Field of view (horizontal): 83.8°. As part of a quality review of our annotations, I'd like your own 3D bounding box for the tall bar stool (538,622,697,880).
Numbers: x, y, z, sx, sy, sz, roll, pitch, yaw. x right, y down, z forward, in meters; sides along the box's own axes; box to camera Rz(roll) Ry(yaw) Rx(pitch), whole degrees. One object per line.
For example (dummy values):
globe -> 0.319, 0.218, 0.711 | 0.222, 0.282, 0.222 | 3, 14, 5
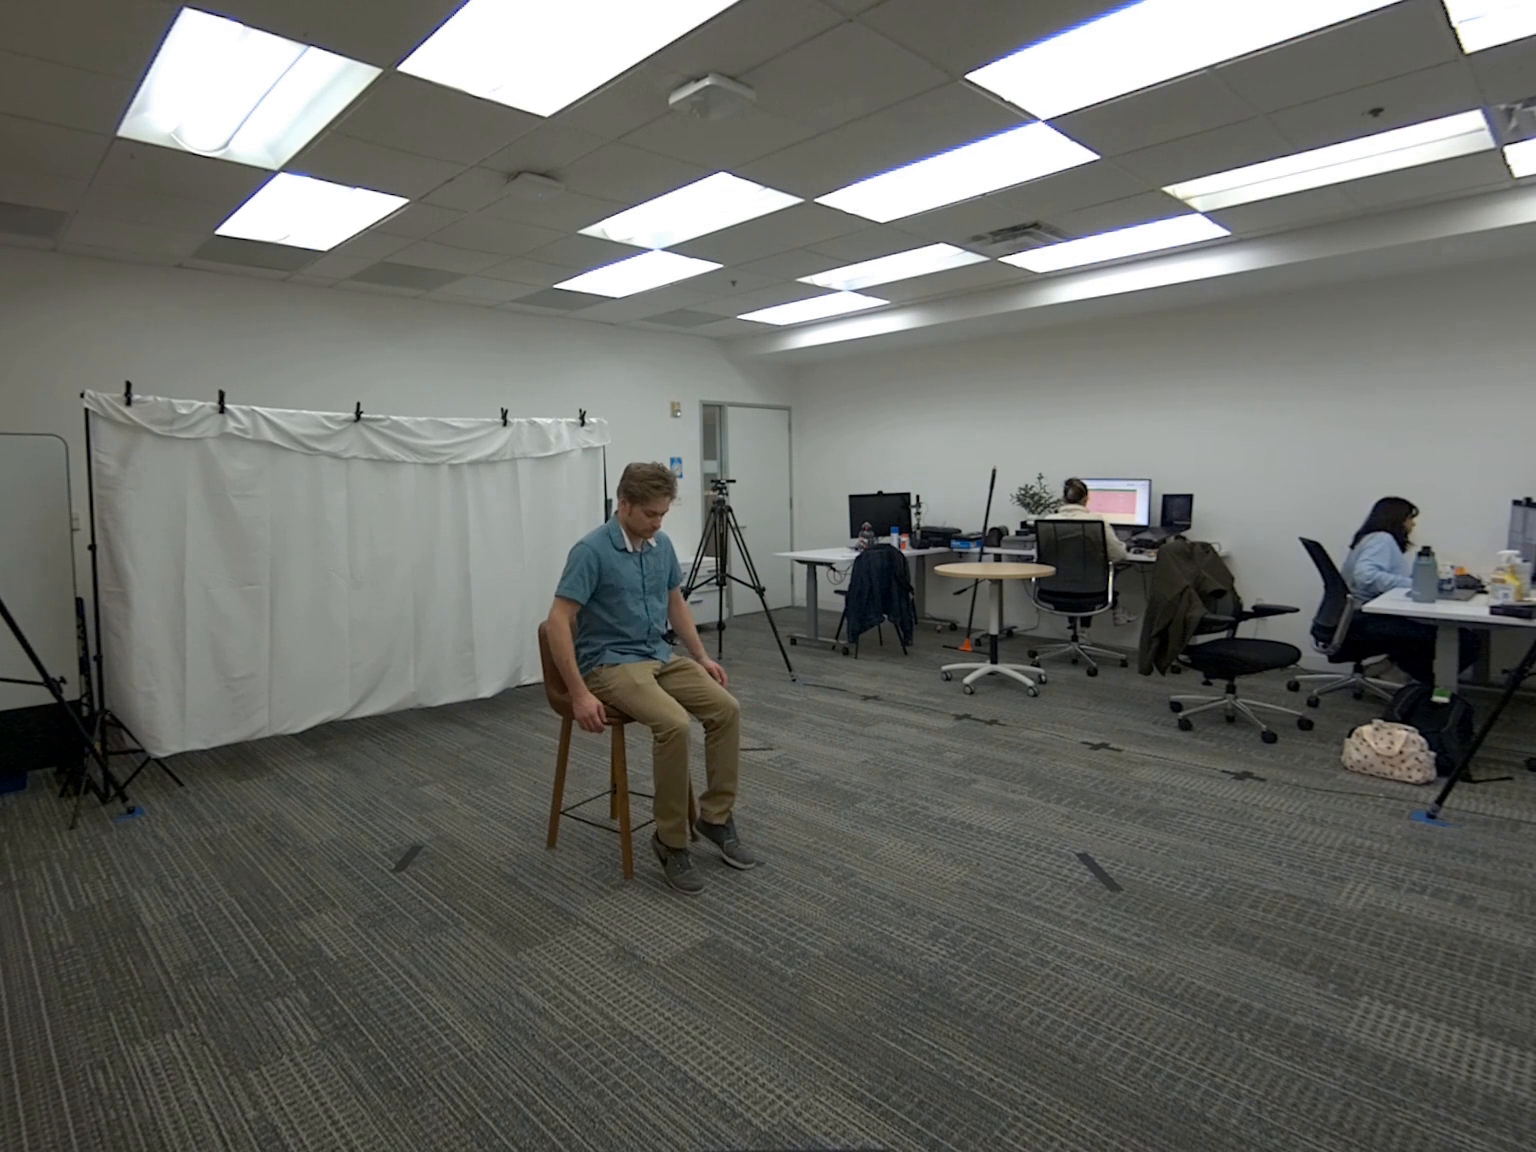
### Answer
tall bar stool -> -0.577, 0.603, 3.285 | 0.480, 0.889, 0.445 | -1, 2, 36
